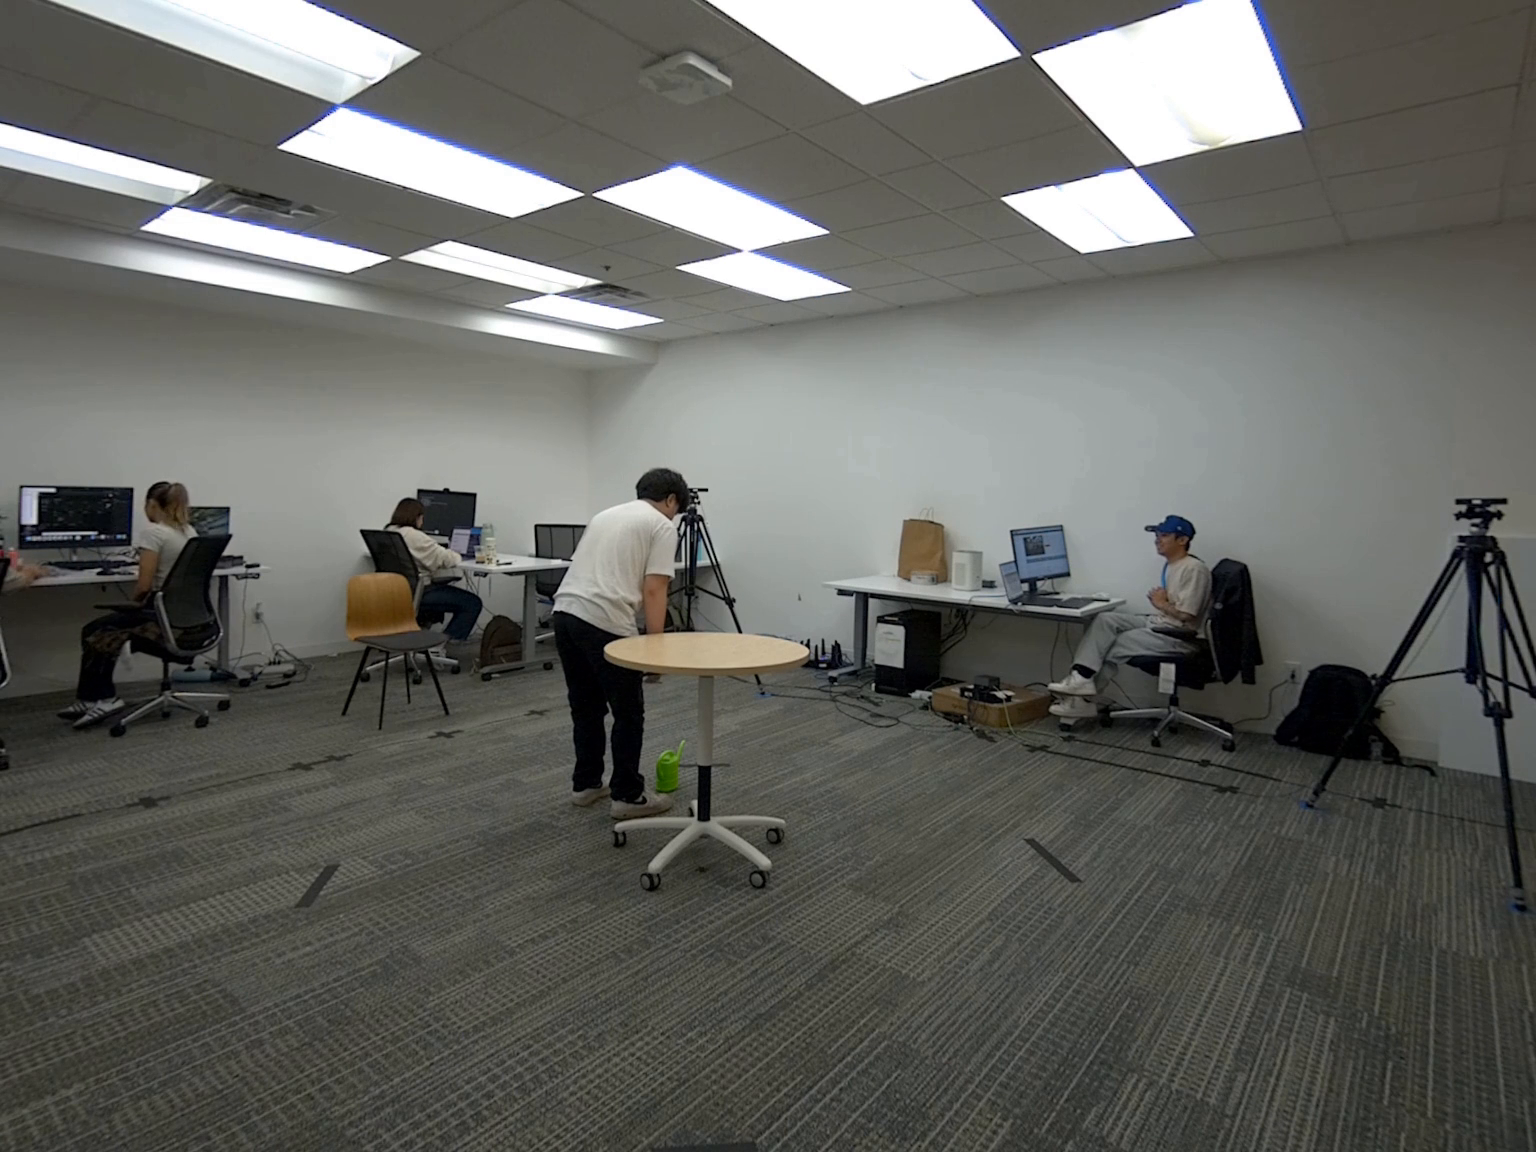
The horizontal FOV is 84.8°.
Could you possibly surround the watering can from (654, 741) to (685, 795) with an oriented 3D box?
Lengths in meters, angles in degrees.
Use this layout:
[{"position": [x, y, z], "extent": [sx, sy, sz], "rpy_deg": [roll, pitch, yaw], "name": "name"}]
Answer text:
[{"position": [-0.459, 0.895, 4.002], "extent": [0.101, 0.176, 0.271], "rpy_deg": [3, 7, 32], "name": "watering can"}]
